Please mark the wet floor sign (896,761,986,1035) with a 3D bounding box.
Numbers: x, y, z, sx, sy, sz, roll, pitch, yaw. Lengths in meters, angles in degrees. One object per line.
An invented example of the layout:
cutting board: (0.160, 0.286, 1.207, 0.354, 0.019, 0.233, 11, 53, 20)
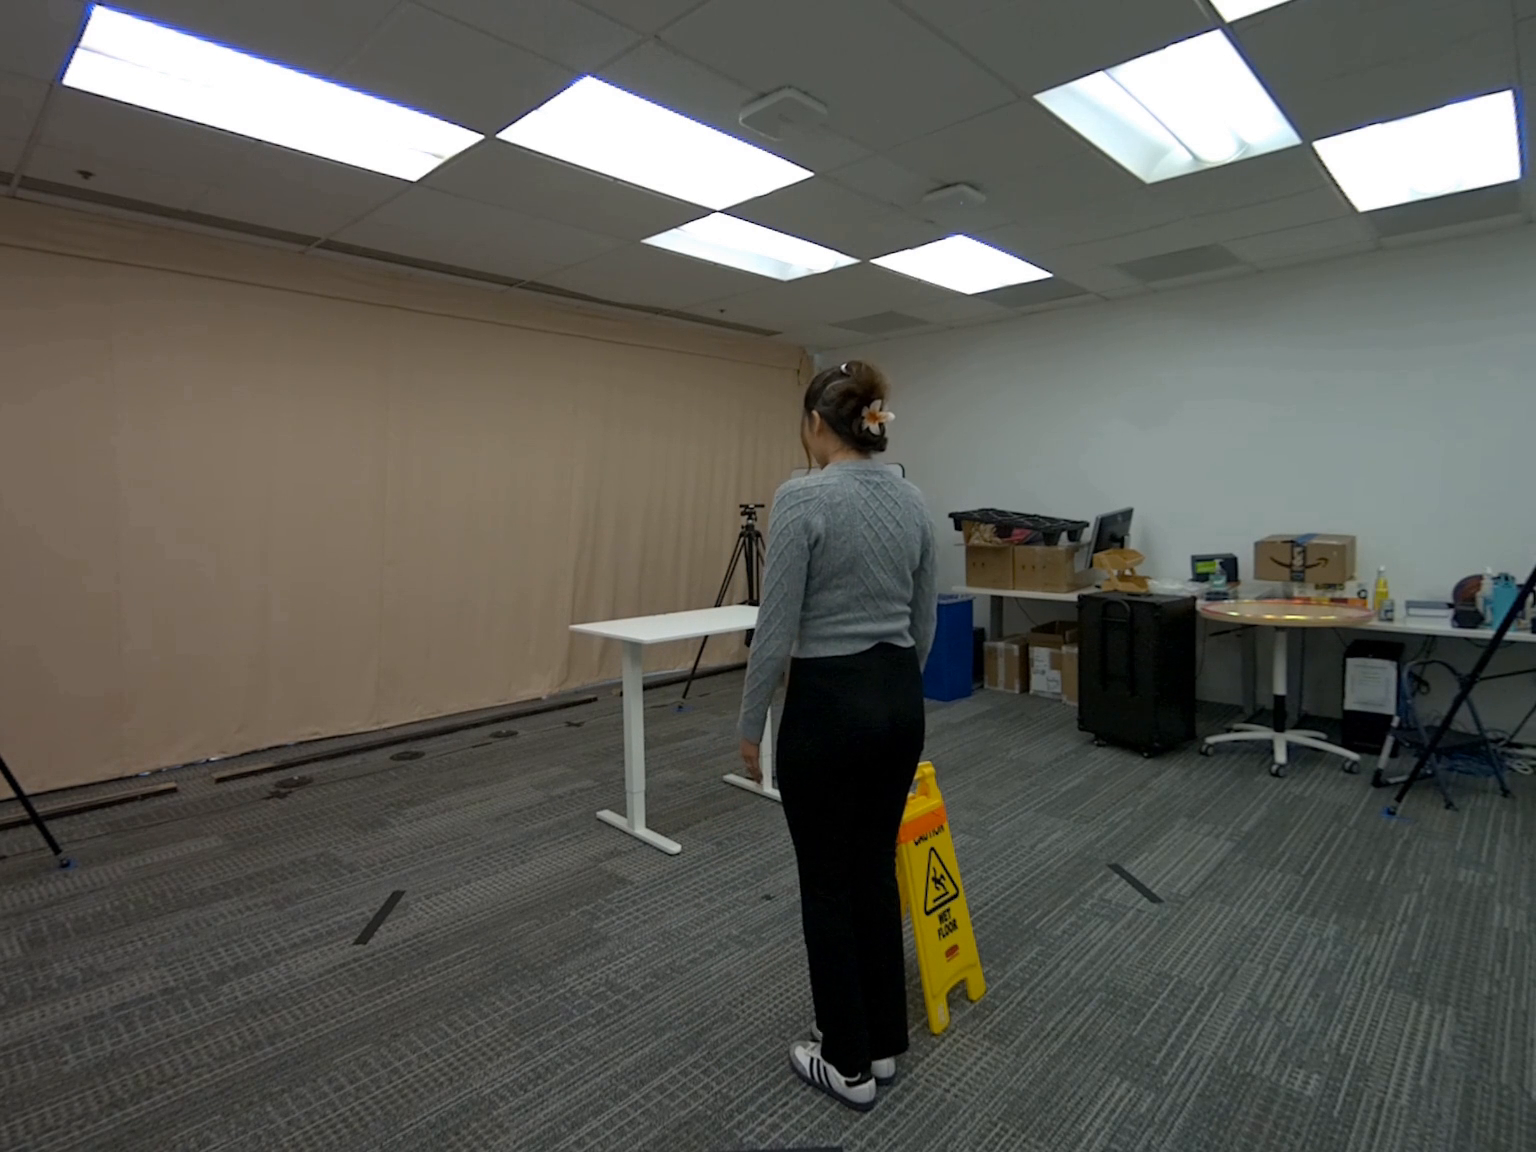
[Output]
wet floor sign: (0.413, 0.866, 2.384, 0.299, 0.645, 0.273, 2, 4, 44)
